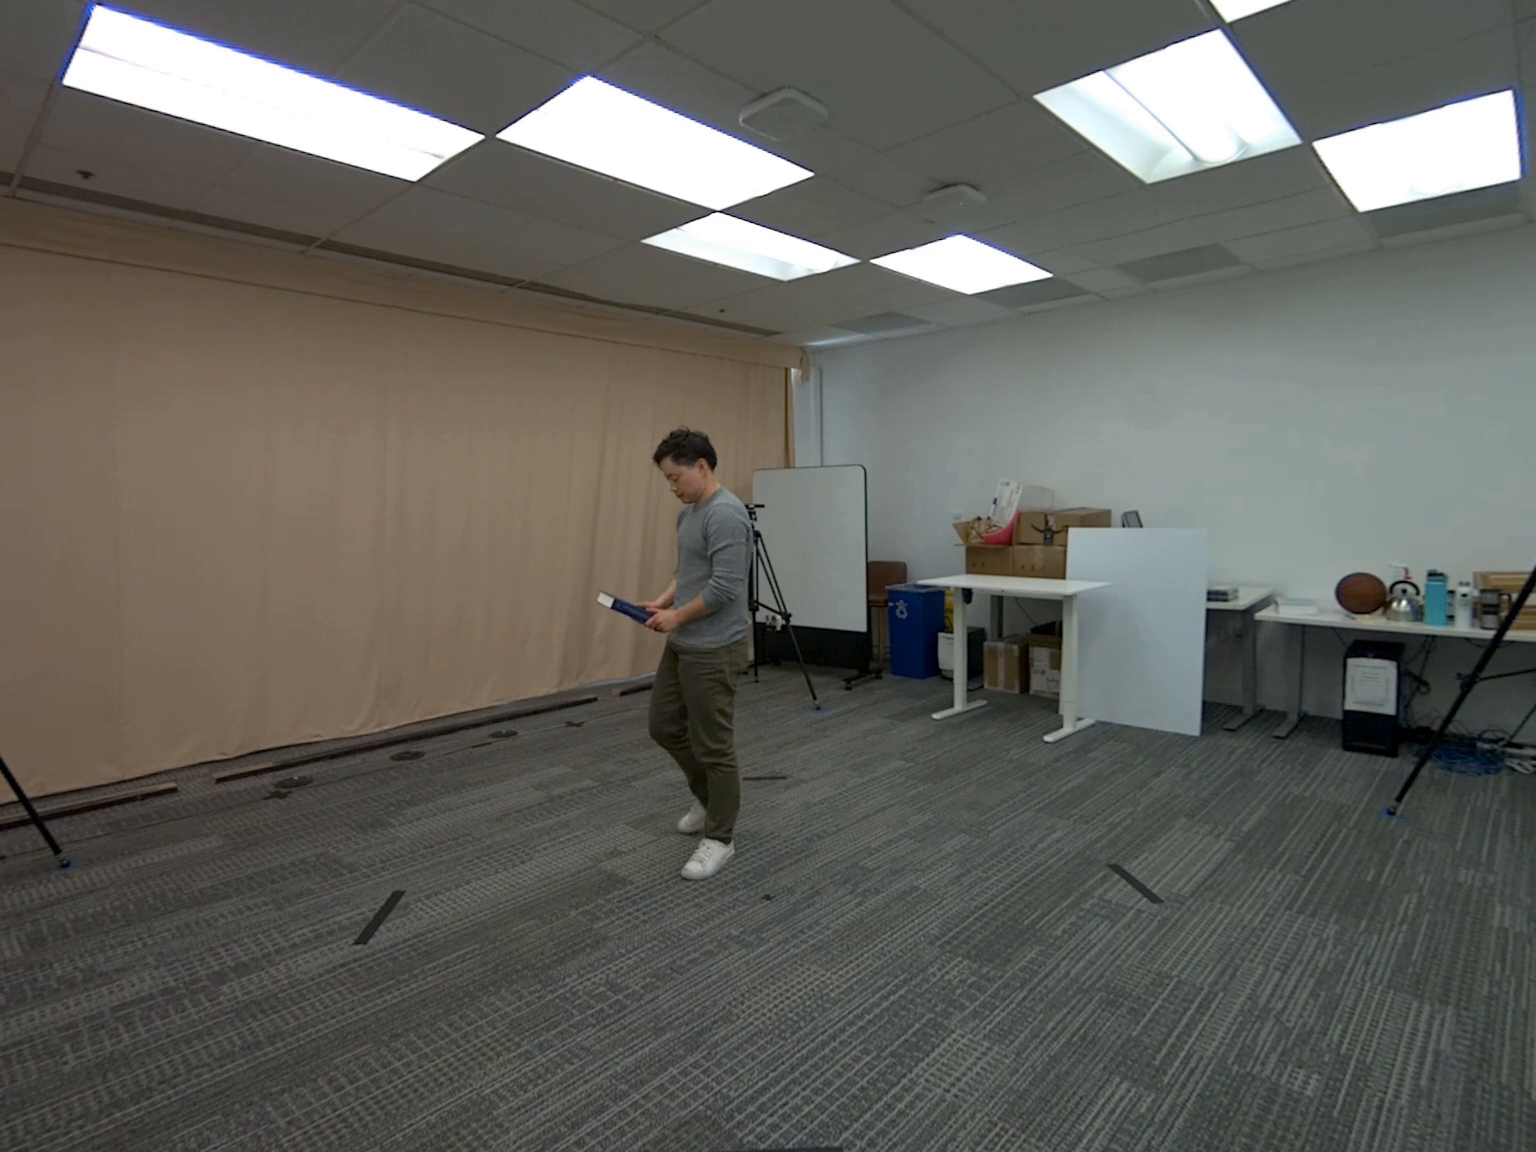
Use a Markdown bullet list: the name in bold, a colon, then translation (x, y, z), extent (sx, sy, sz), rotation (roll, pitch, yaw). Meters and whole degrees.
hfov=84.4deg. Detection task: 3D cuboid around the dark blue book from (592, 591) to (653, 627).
- **dark blue book**: translation (-0.508, 0.132, 3.134), extent (0.237, 0.045, 0.168), rotation (25, -6, -30)
